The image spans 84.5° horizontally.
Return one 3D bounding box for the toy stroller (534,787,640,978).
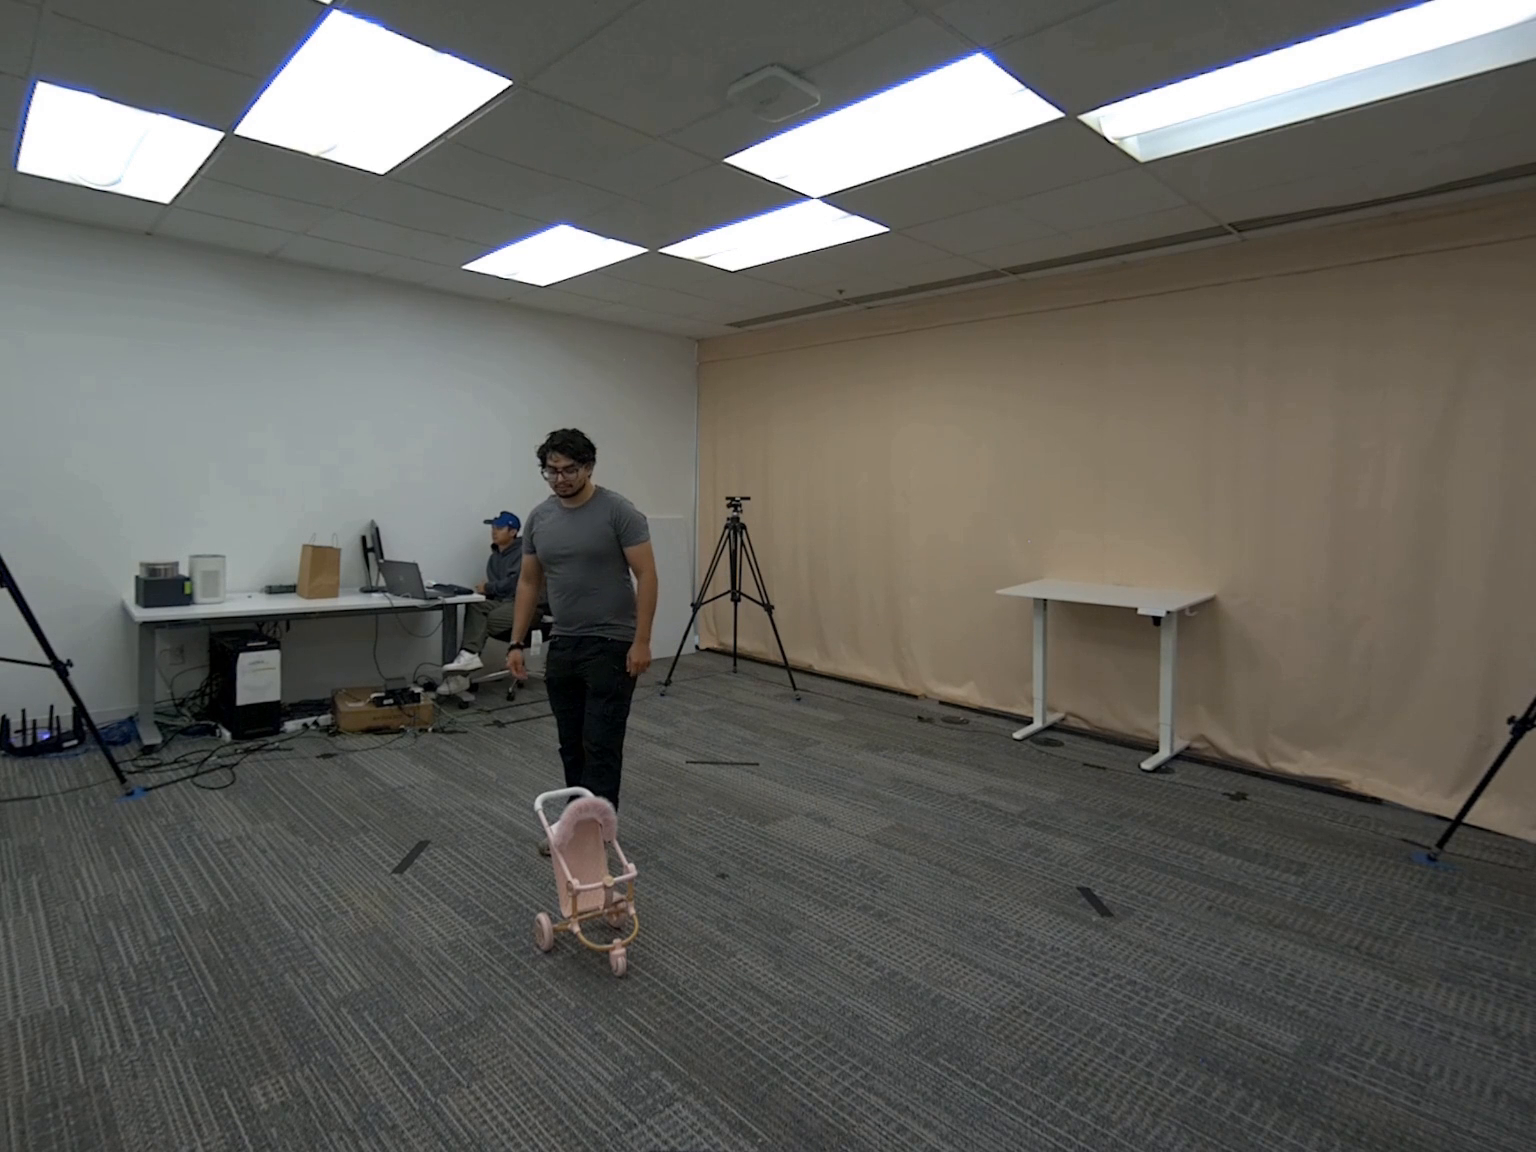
[{"bbox_3d":[-0.556,0.924,2.587,0.275,0.540,0.345,-1,-13,-33],"label":"toy stroller"}]
